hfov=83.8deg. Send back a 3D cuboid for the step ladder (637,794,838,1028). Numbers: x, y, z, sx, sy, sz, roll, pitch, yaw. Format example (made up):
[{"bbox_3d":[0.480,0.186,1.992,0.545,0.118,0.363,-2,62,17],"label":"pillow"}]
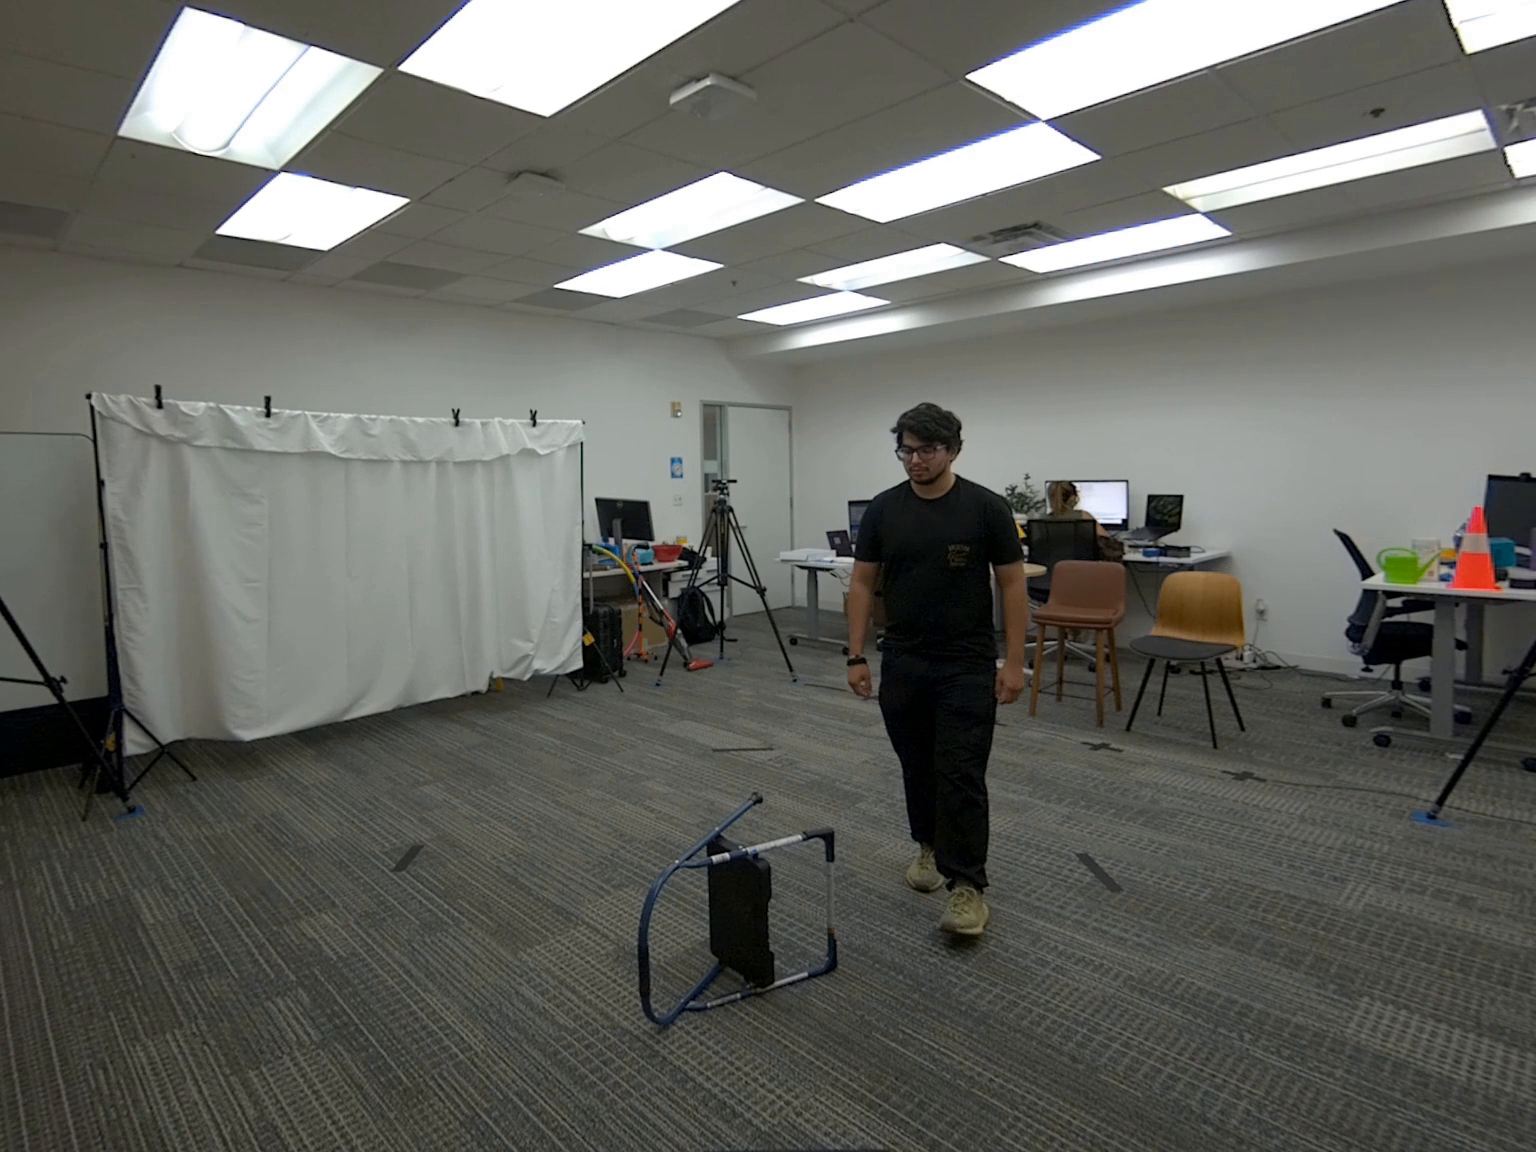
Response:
[{"bbox_3d":[-0.133,0.929,2.355,0.591,0.428,0.360,-8,8,-41],"label":"step ladder"}]
